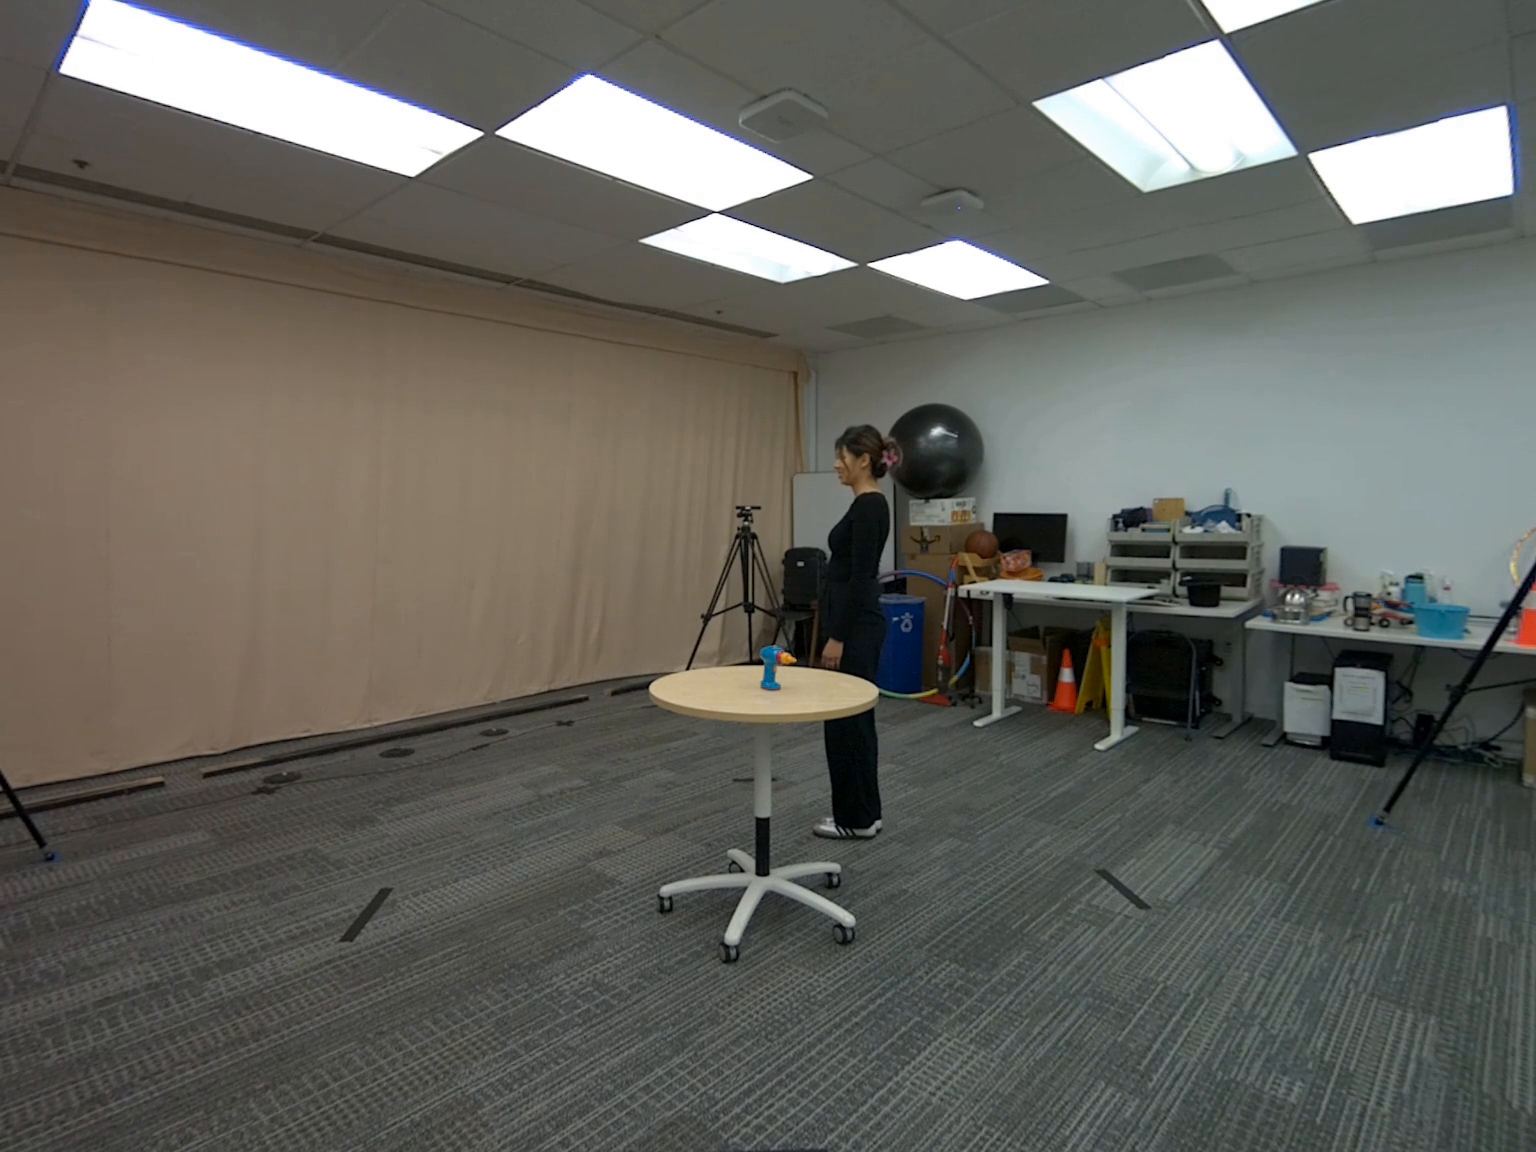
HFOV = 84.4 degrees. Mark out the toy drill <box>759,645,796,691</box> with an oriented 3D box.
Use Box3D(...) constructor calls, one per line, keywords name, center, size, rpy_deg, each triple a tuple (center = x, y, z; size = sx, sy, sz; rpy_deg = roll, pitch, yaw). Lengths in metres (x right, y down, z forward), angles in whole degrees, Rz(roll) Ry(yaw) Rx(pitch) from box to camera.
Box3D(name="toy drill", center=(0.041, 0.304, 2.771), size=(0.059, 0.146, 0.175), rpy_deg=(-1, 3, -42))
